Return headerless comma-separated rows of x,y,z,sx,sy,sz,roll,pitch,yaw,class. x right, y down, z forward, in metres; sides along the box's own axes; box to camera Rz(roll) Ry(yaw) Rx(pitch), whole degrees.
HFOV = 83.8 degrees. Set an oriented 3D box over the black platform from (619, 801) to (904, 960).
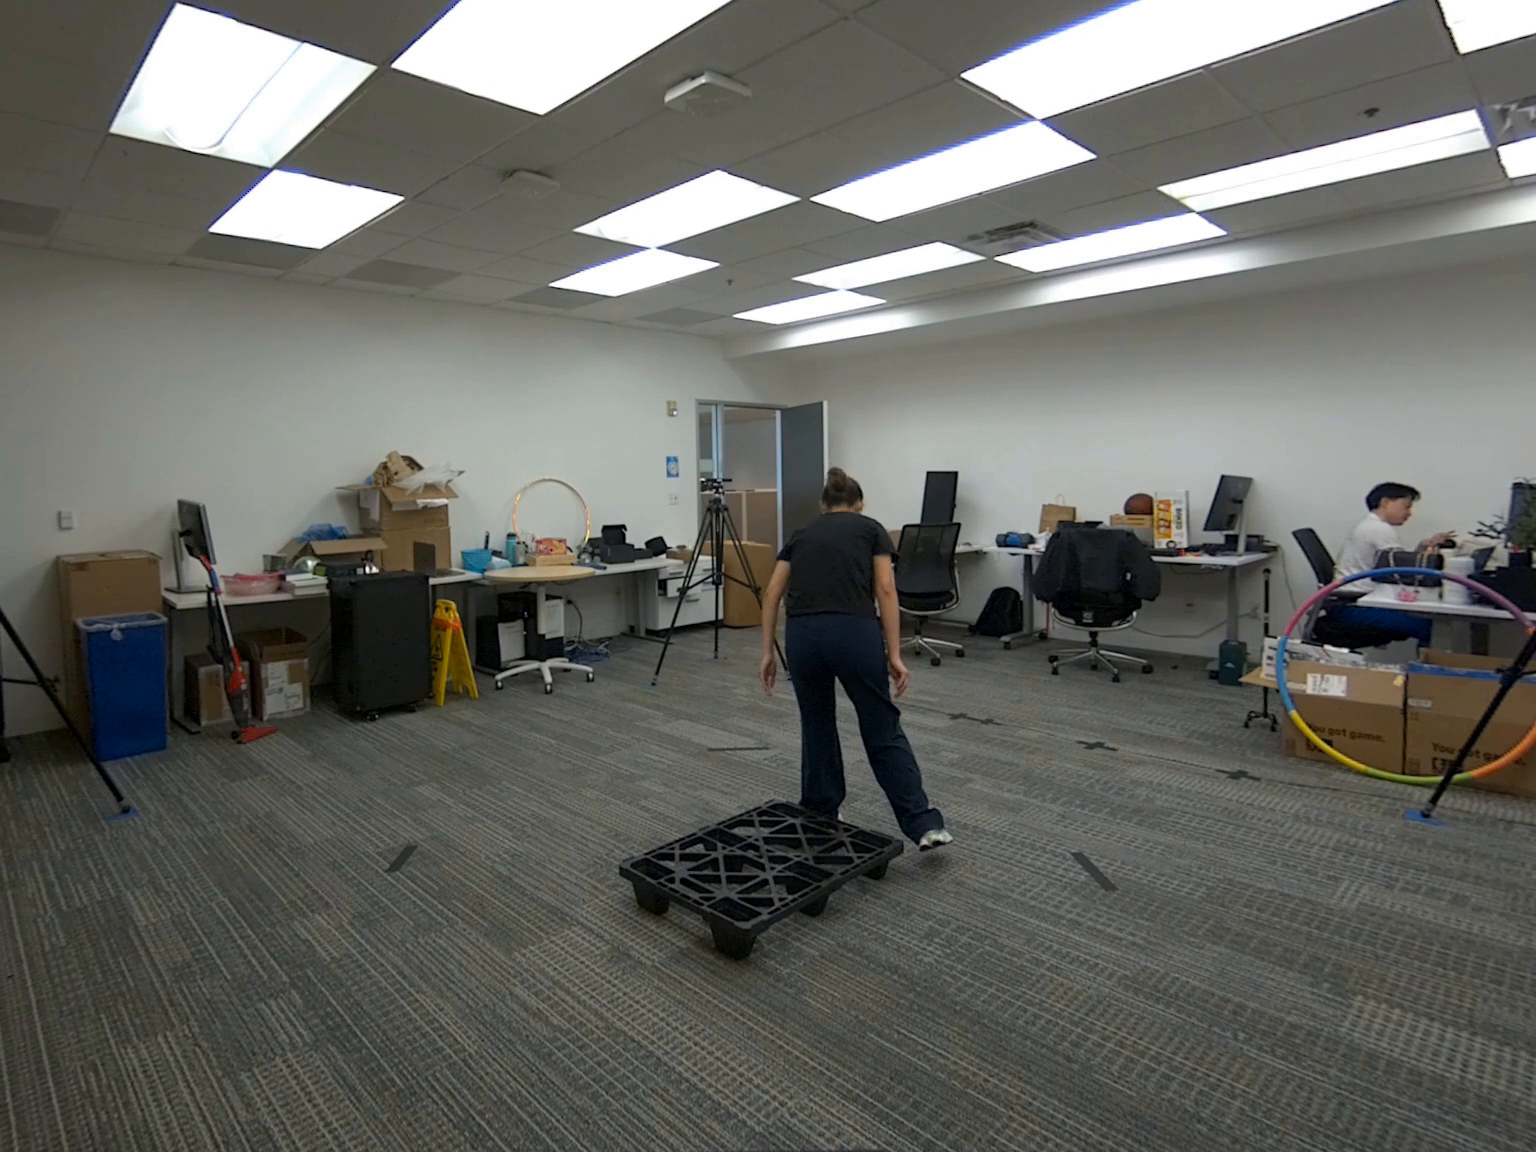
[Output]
-0.009,1.005,2.902,0.624,0.142,0.785,6,10,43,black platform
